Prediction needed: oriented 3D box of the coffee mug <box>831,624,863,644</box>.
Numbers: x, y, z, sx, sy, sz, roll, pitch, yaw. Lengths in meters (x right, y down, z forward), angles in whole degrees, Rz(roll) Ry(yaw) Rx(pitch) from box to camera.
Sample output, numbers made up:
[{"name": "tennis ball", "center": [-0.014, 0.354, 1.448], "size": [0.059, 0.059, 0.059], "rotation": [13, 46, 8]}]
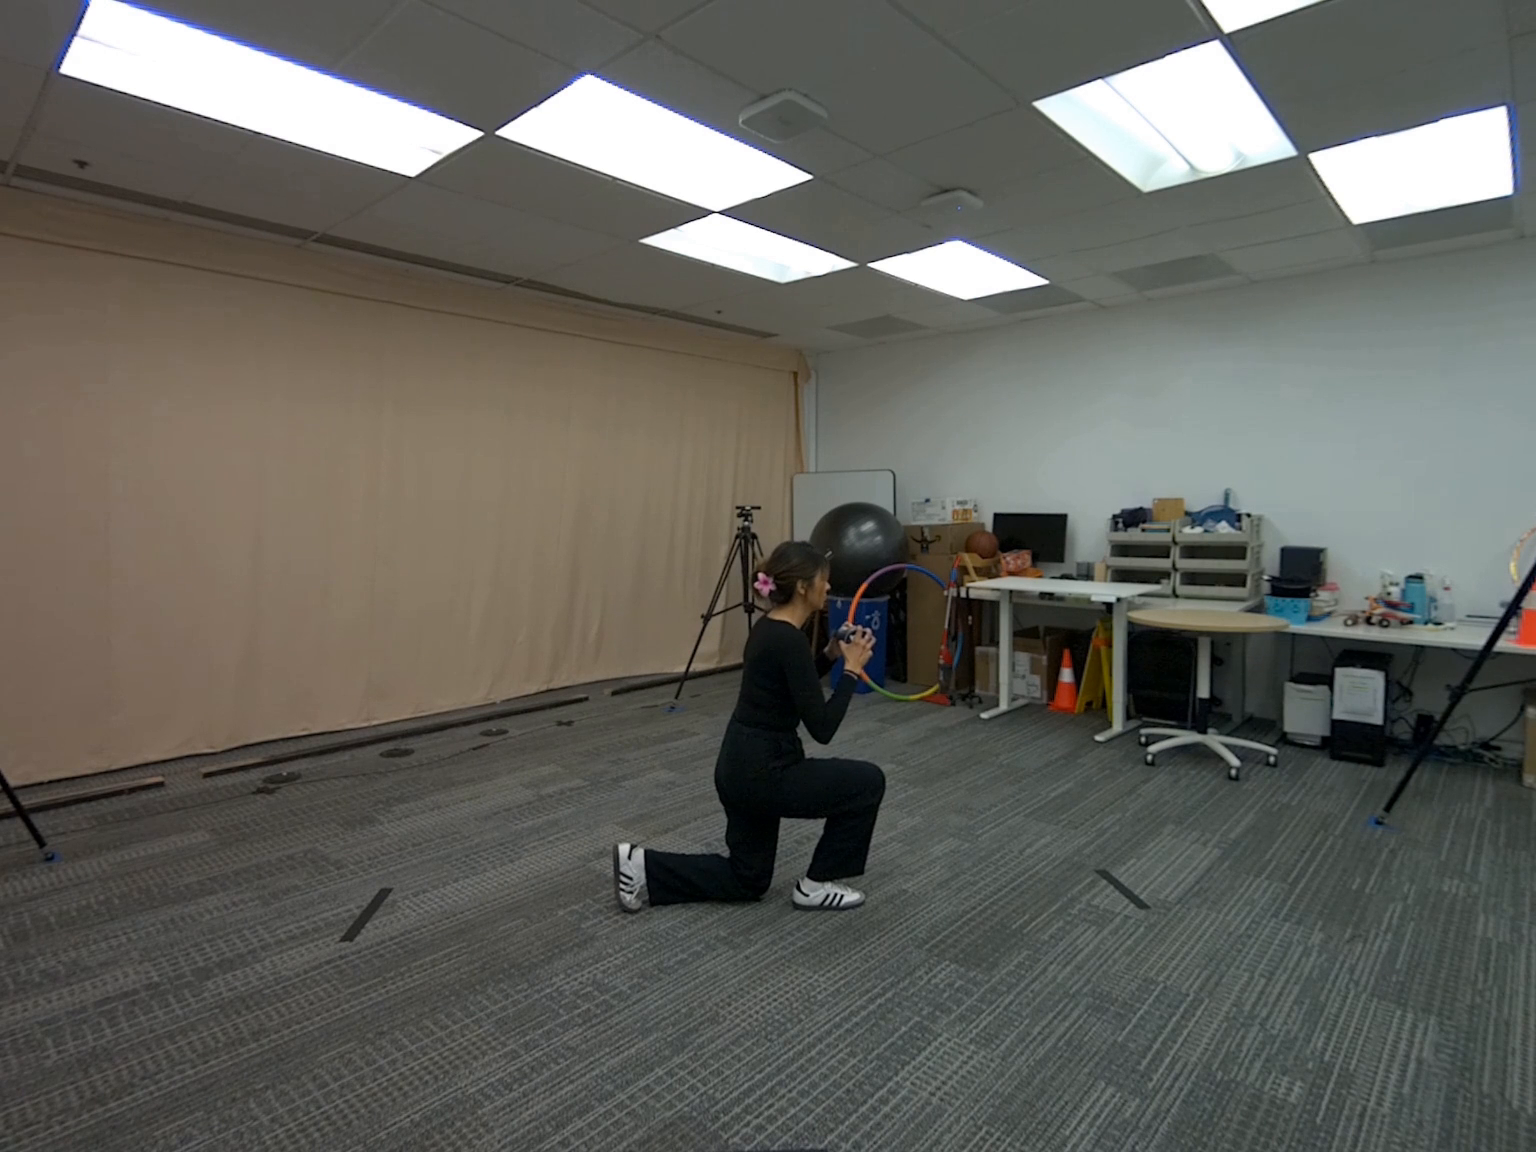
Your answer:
[{"name": "coffee mug", "center": [0.292, 0.199, 2.908], "size": [0.120, 0.088, 0.206], "rotation": [41, -5, -13]}]
